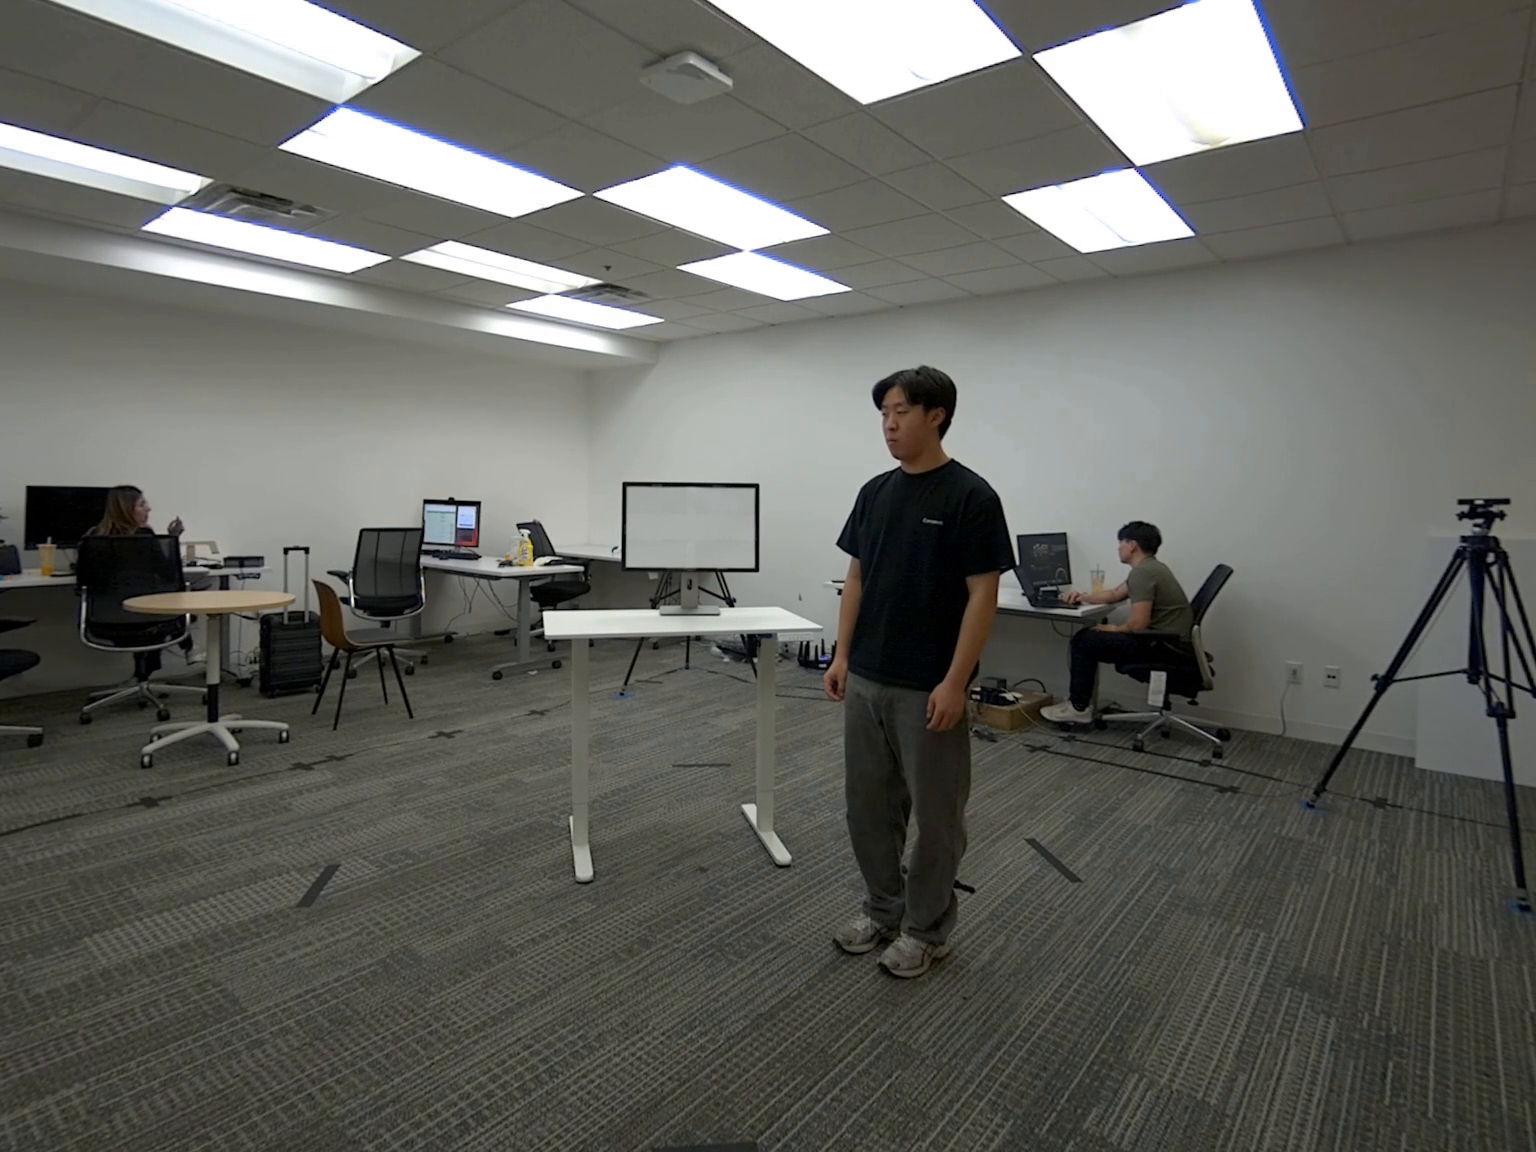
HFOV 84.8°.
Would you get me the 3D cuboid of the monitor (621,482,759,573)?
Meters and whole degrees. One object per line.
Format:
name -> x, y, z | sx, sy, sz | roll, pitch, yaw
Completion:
monitor -> -0.326, -0.109, 3.497 | 0.561, 0.560, 0.225 | 0, 11, -2
